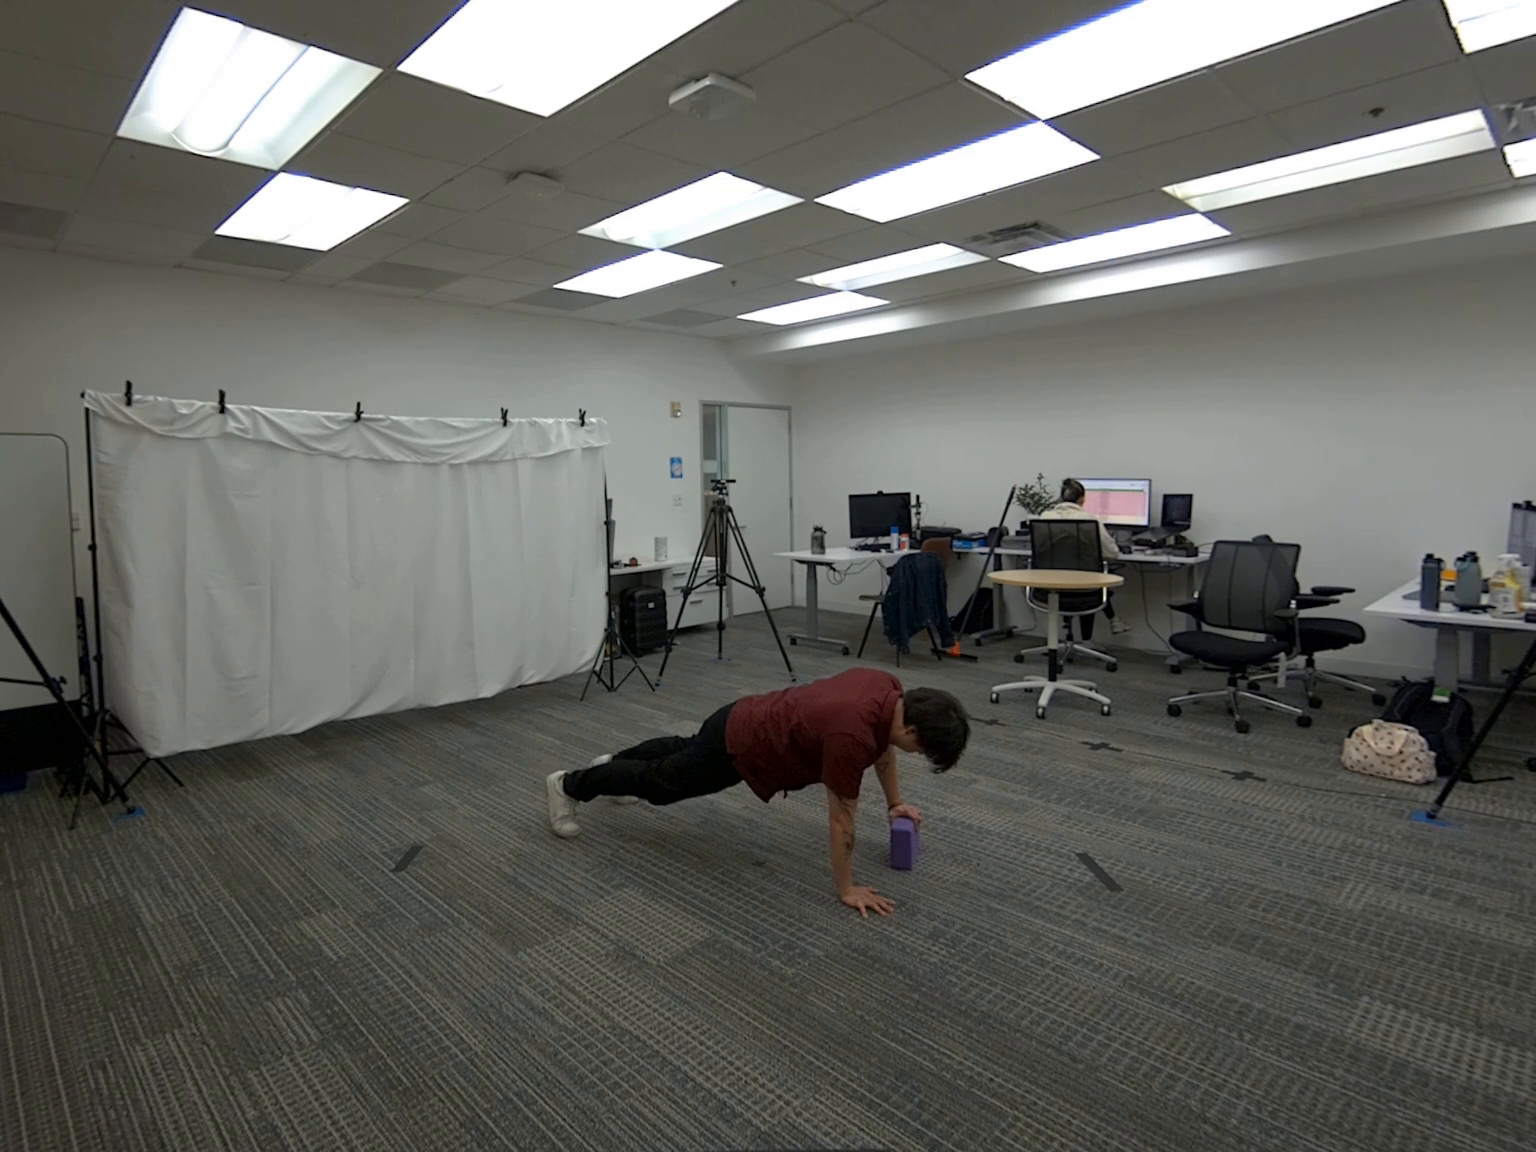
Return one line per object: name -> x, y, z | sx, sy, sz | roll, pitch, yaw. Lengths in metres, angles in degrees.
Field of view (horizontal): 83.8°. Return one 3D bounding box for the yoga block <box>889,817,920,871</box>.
yoga block -> 0.497, 0.951, 3.139 | 0.078, 0.148, 0.226 | -1, 5, 17
